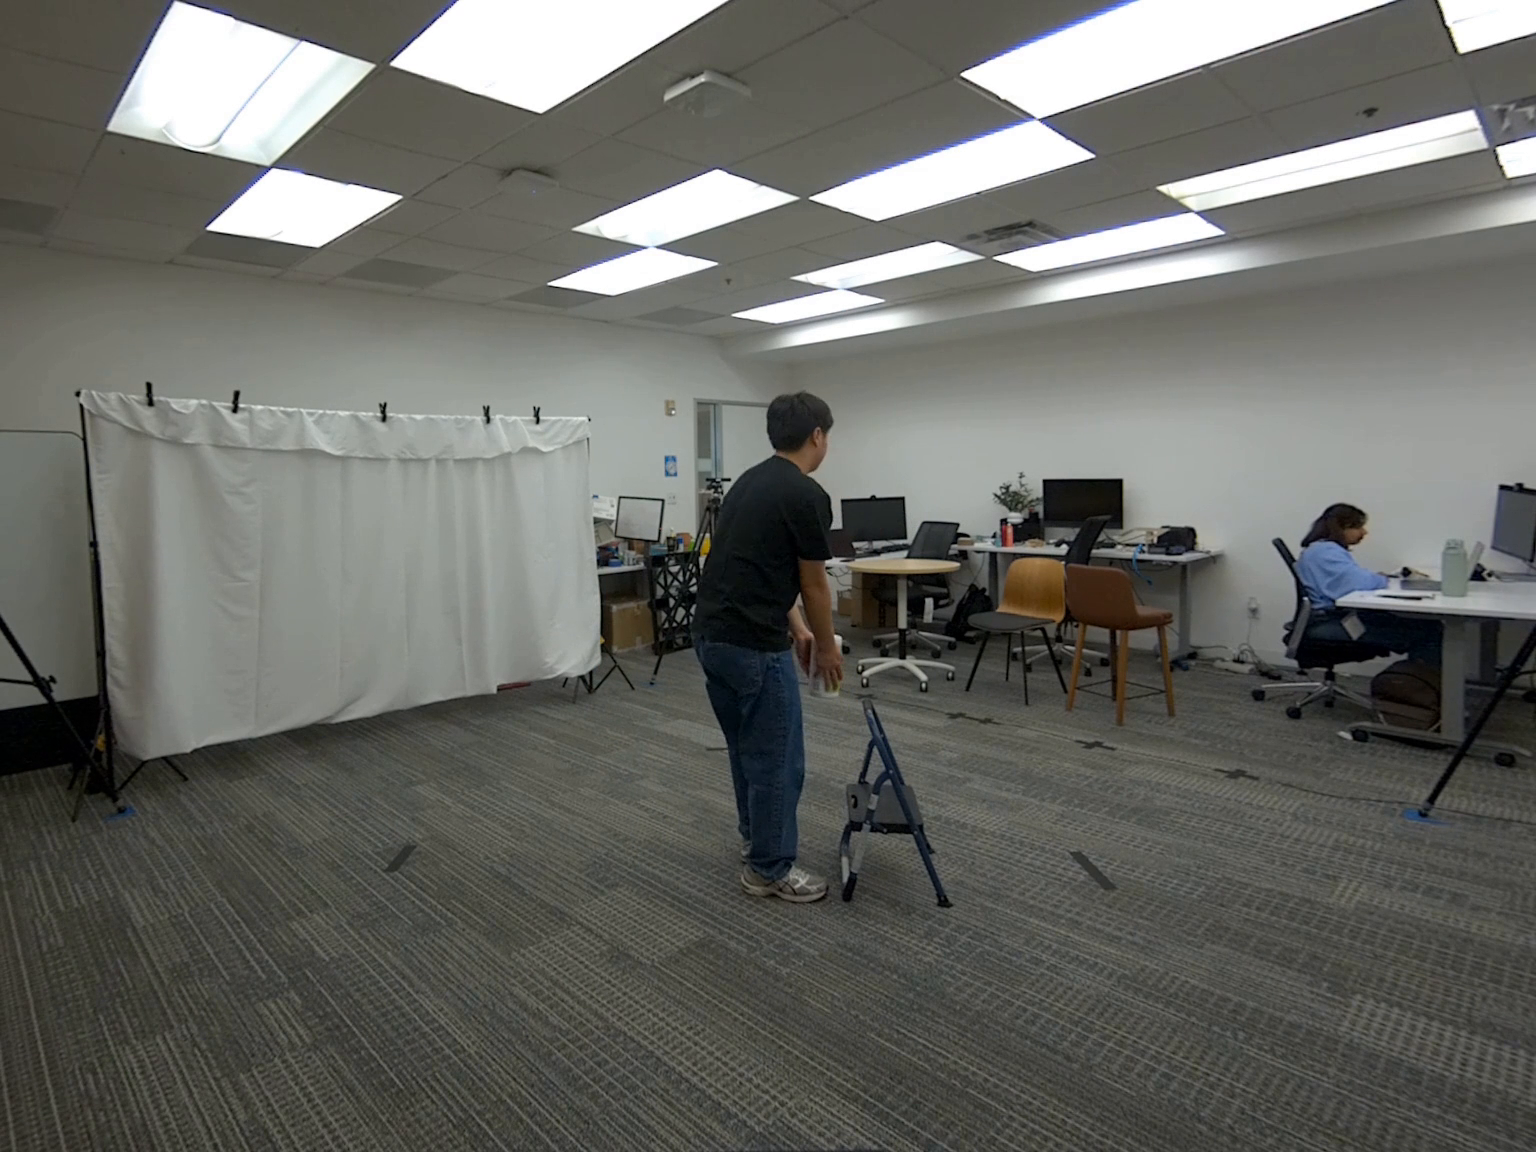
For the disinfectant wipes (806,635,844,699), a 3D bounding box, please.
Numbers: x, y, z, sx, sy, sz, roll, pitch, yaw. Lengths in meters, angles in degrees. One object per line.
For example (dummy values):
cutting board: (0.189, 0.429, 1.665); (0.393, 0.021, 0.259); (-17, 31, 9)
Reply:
disinfectant wipes: (0.189, 0.325, 3.044); (0.117, 0.217, 0.118); (4, 3, -2)
